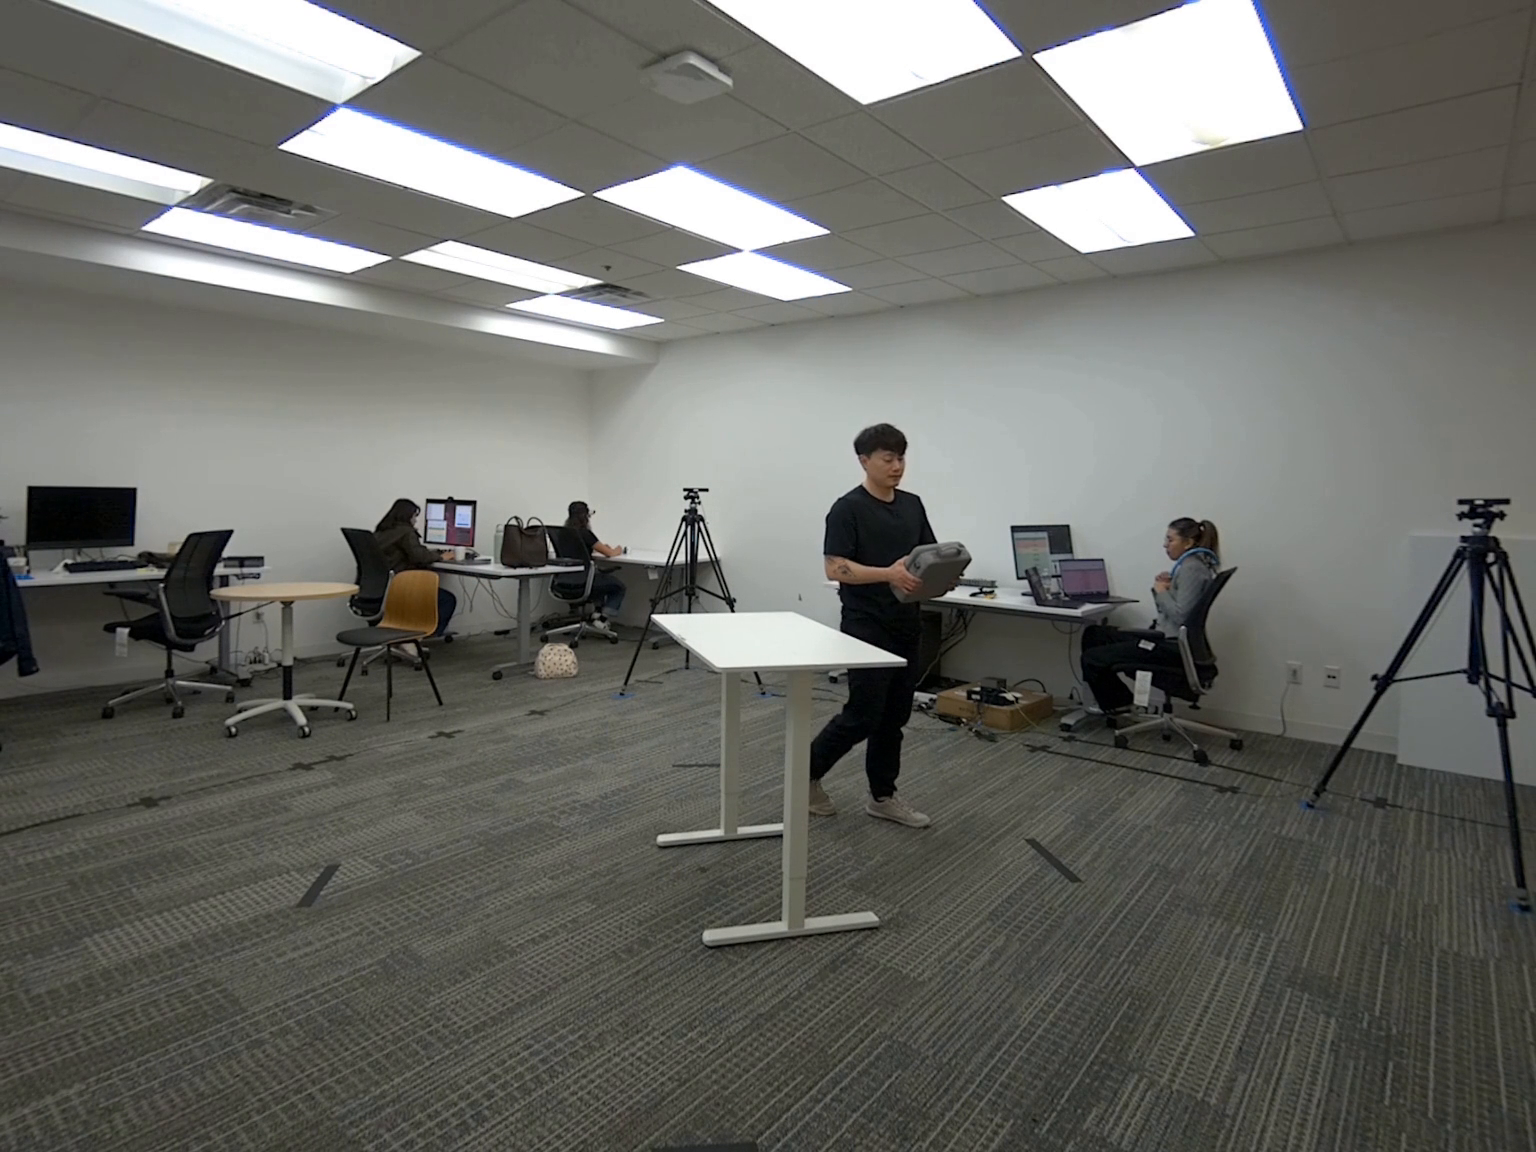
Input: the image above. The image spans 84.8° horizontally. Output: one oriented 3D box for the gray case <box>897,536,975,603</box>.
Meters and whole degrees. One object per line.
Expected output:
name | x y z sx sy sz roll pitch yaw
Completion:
gray case | 0.630 -0.025 3.352 0.251 0.108 0.258 -7 -35 -30
